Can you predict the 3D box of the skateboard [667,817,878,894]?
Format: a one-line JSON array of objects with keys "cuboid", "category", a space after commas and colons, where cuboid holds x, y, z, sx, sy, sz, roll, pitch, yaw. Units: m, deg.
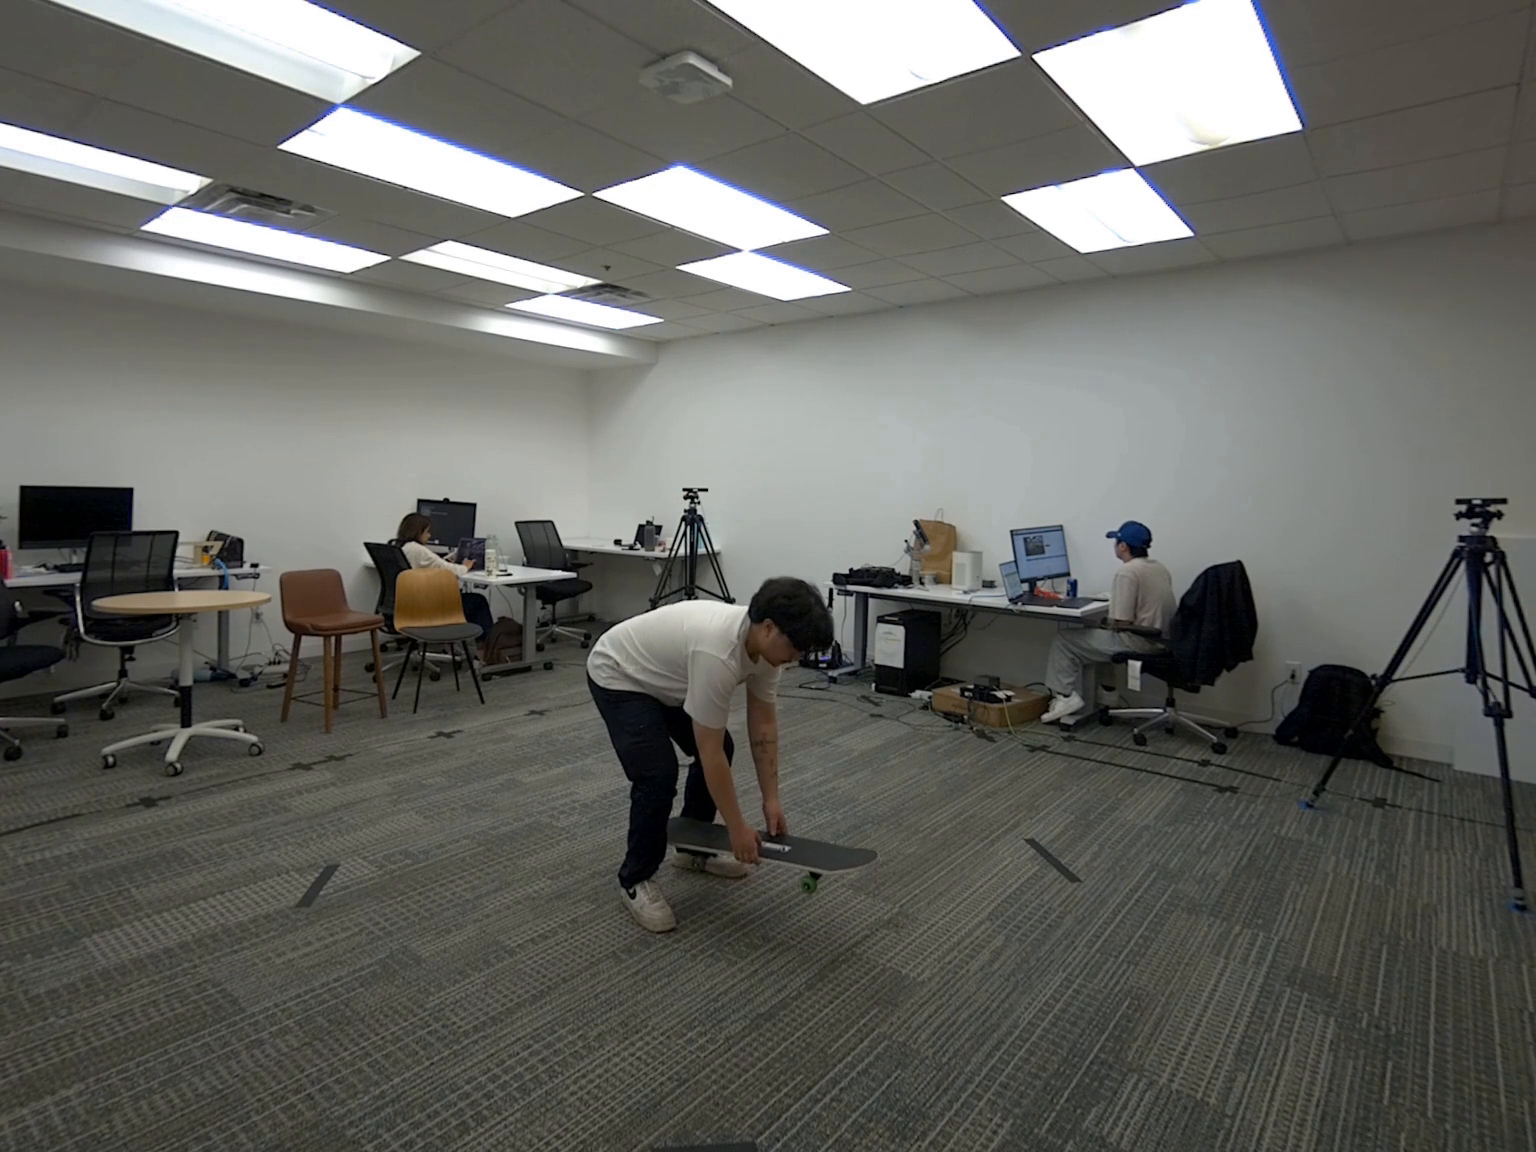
[{"cuboid": [-0.027, 0.902, 2.764, 0.807, 0.110, 0.189, -1, 6, 29], "category": "skateboard"}]
